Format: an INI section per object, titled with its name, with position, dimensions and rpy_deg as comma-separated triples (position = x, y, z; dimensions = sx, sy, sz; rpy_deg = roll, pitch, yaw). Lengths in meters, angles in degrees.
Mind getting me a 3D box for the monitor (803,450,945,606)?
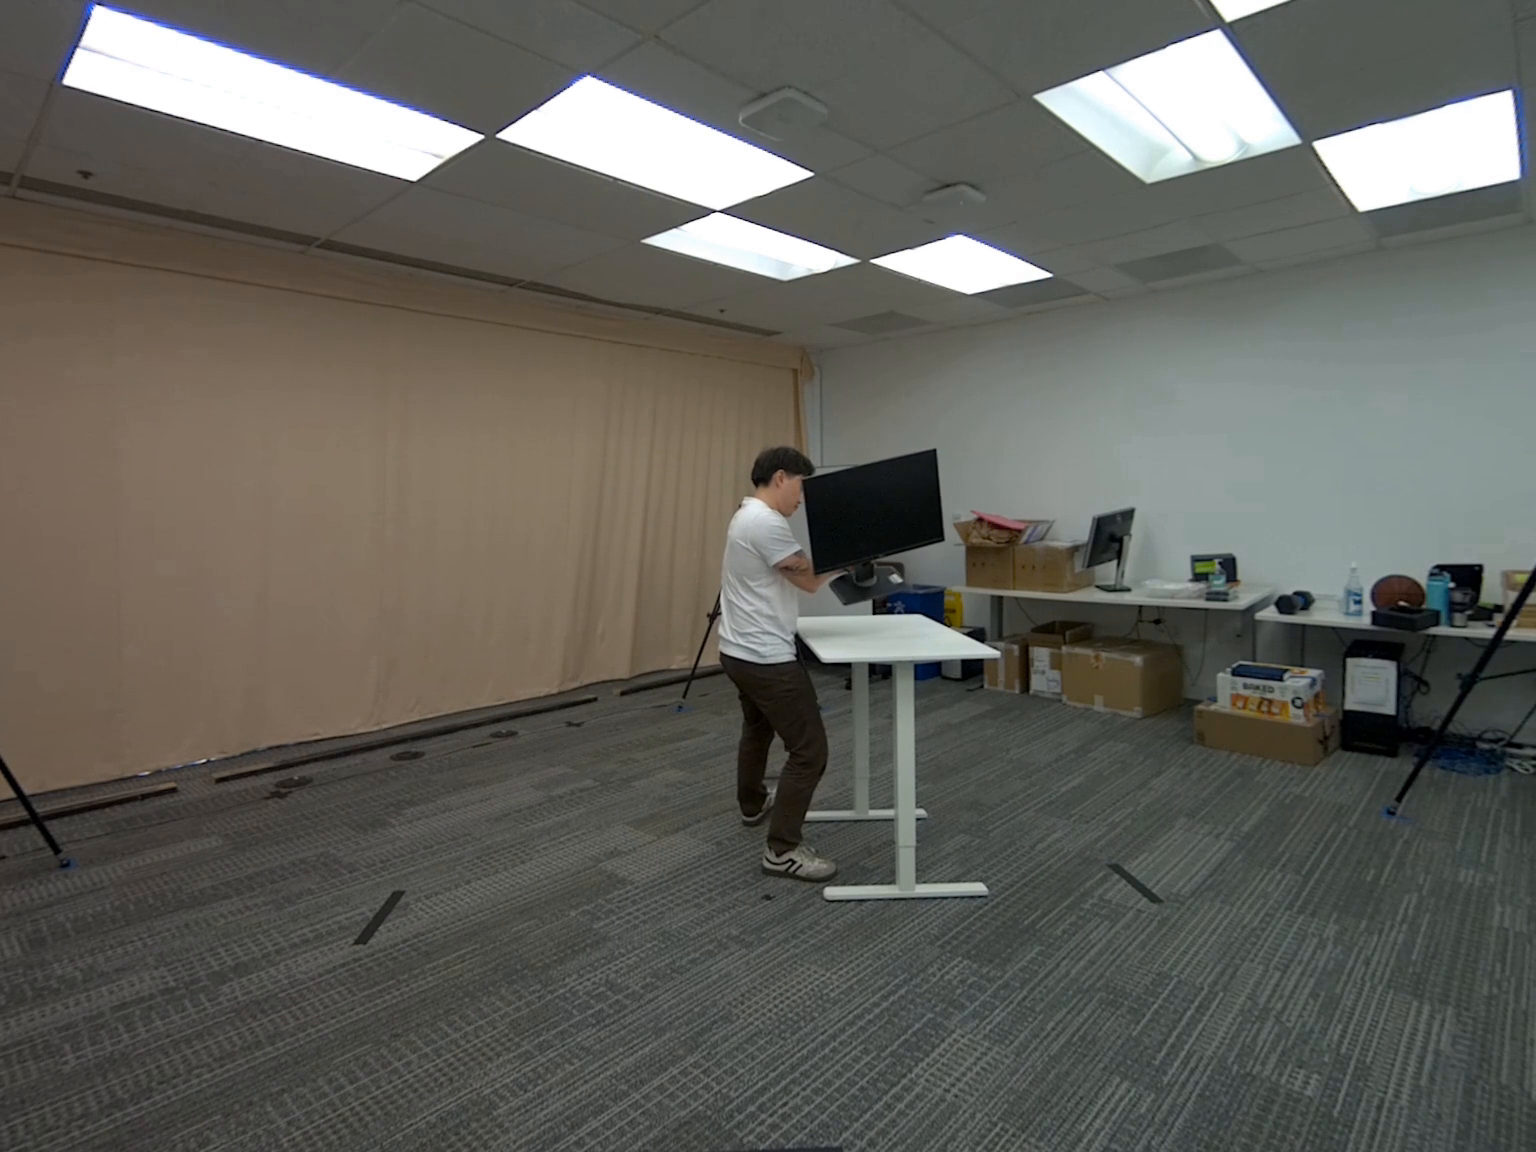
[monitor]
position = 0.377, -0.169, 3.081
dimensions = 0.531, 0.513, 0.193
rpy_deg = -15, 30, -19
